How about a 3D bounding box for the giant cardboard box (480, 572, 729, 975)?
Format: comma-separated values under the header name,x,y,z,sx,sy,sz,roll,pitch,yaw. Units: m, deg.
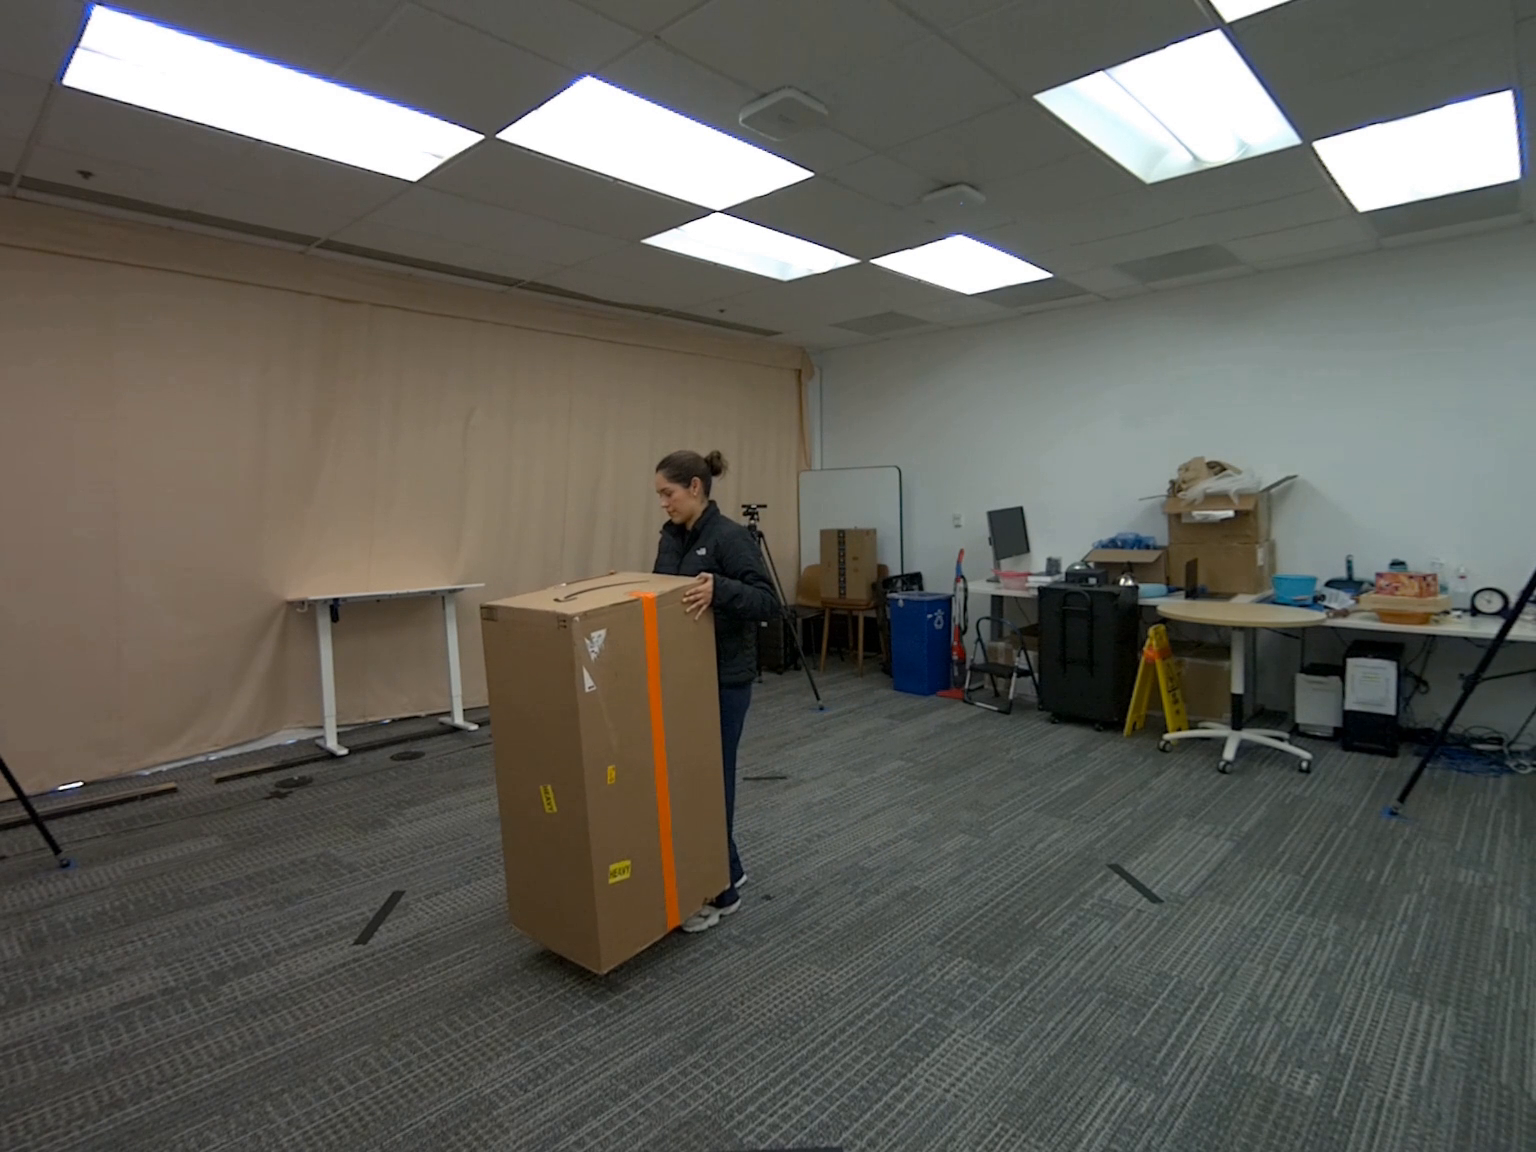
name,x,y,z,sx,sy,sz,roll,pitch,yaw
giant cardboard box,-0.473,0.554,2.607,0.440,1.021,0.562,2,9,39
